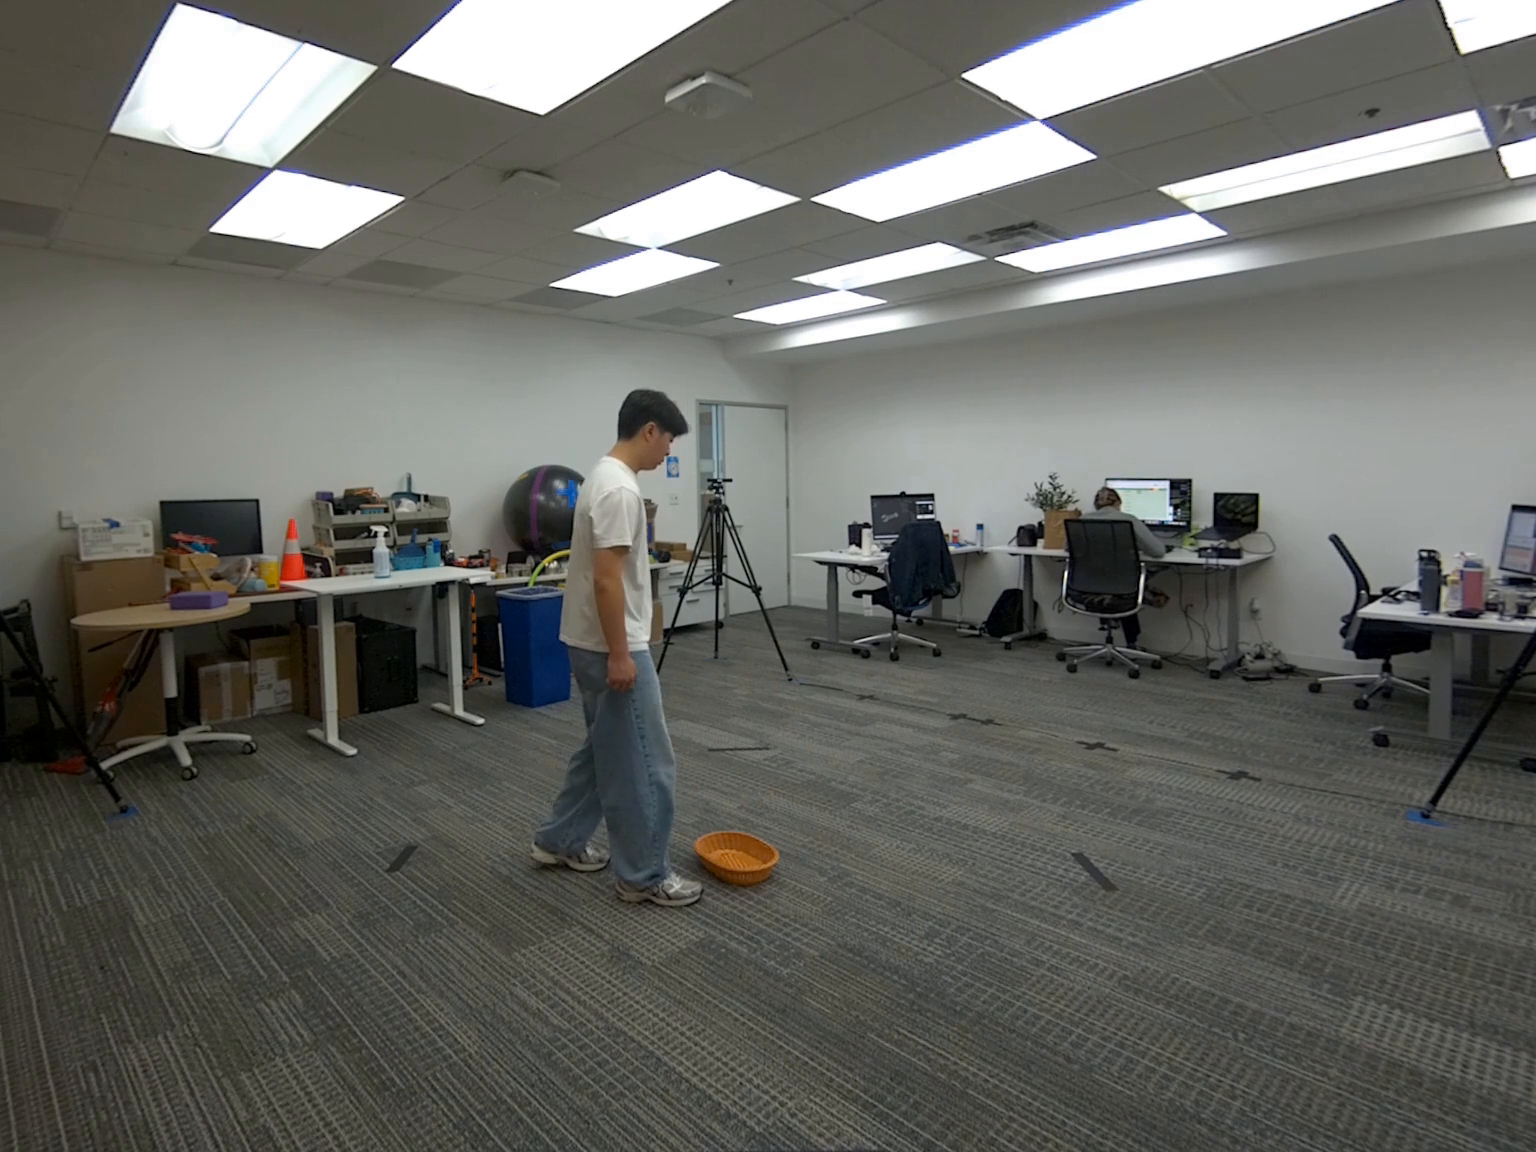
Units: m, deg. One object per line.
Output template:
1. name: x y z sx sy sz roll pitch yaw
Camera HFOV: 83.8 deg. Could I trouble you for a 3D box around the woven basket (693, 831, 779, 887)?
1. woven basket: -0.116 1.007 3.067 0.246 0.073 0.361 -6 7 -38
